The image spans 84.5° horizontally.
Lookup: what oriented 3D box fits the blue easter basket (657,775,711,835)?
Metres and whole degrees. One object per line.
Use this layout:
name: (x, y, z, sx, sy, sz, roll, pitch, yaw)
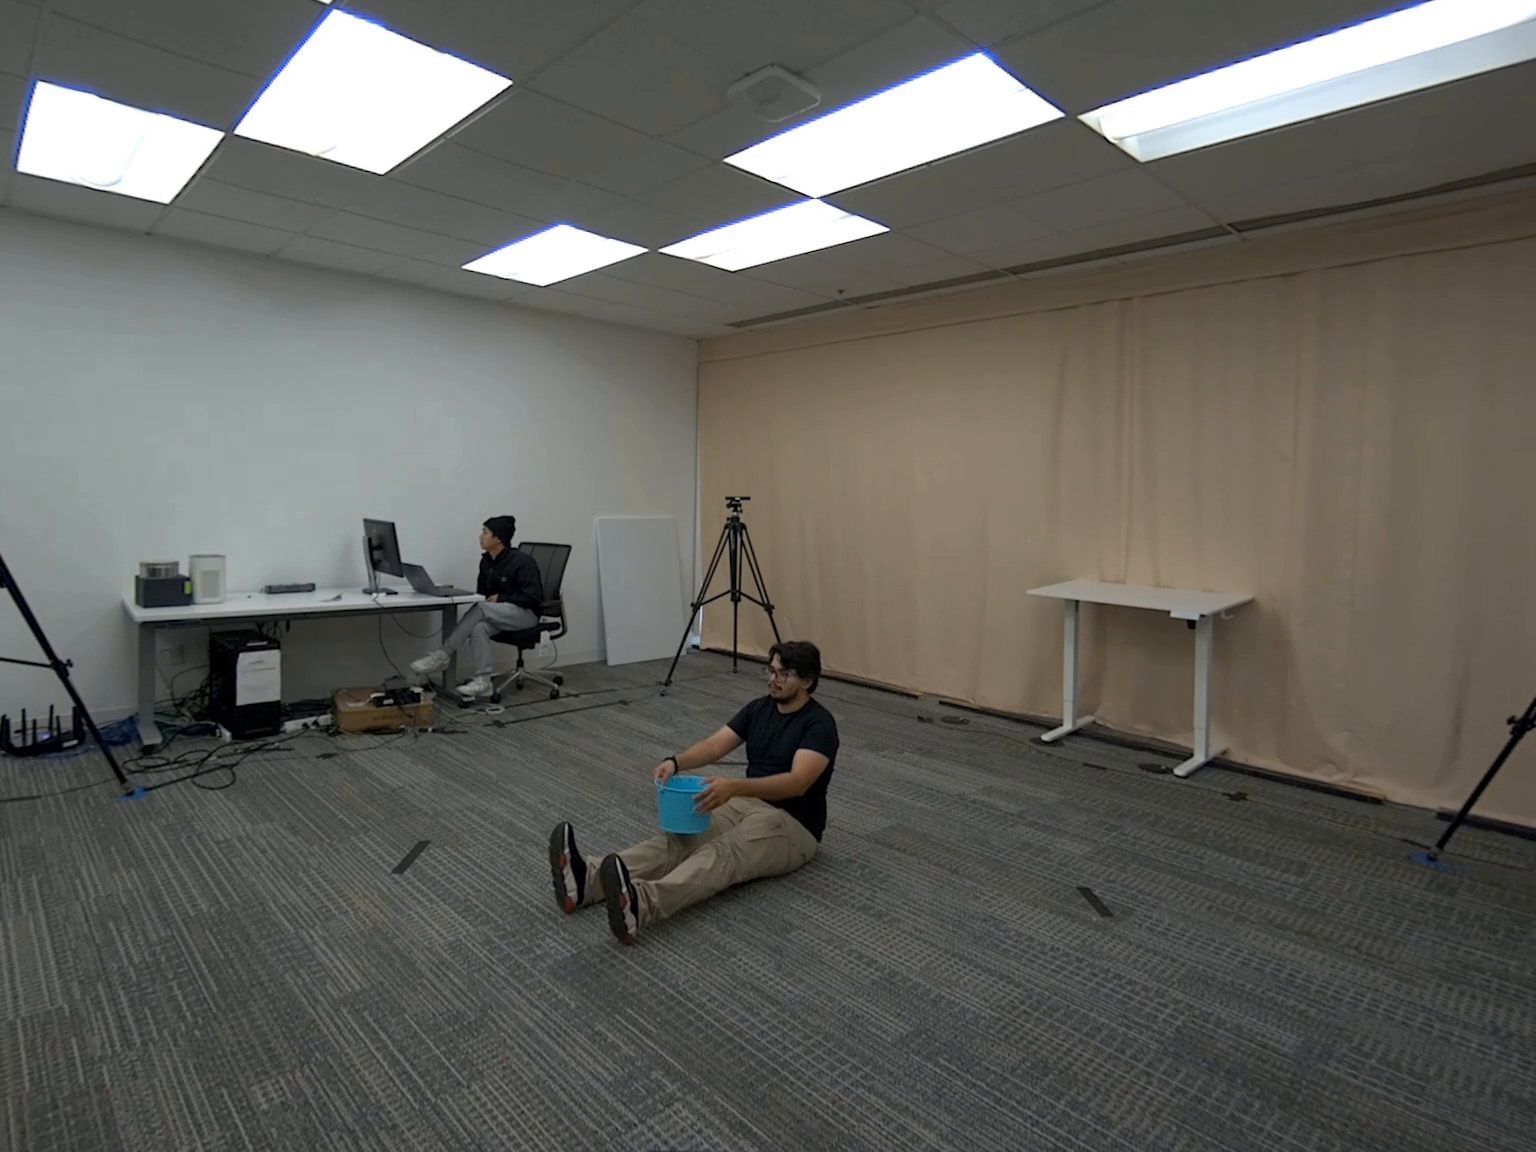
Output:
blue easter basket: (-0.311, 0.823, 3.044, 0.243, 0.156, 0.243, 3, -1, -1)
